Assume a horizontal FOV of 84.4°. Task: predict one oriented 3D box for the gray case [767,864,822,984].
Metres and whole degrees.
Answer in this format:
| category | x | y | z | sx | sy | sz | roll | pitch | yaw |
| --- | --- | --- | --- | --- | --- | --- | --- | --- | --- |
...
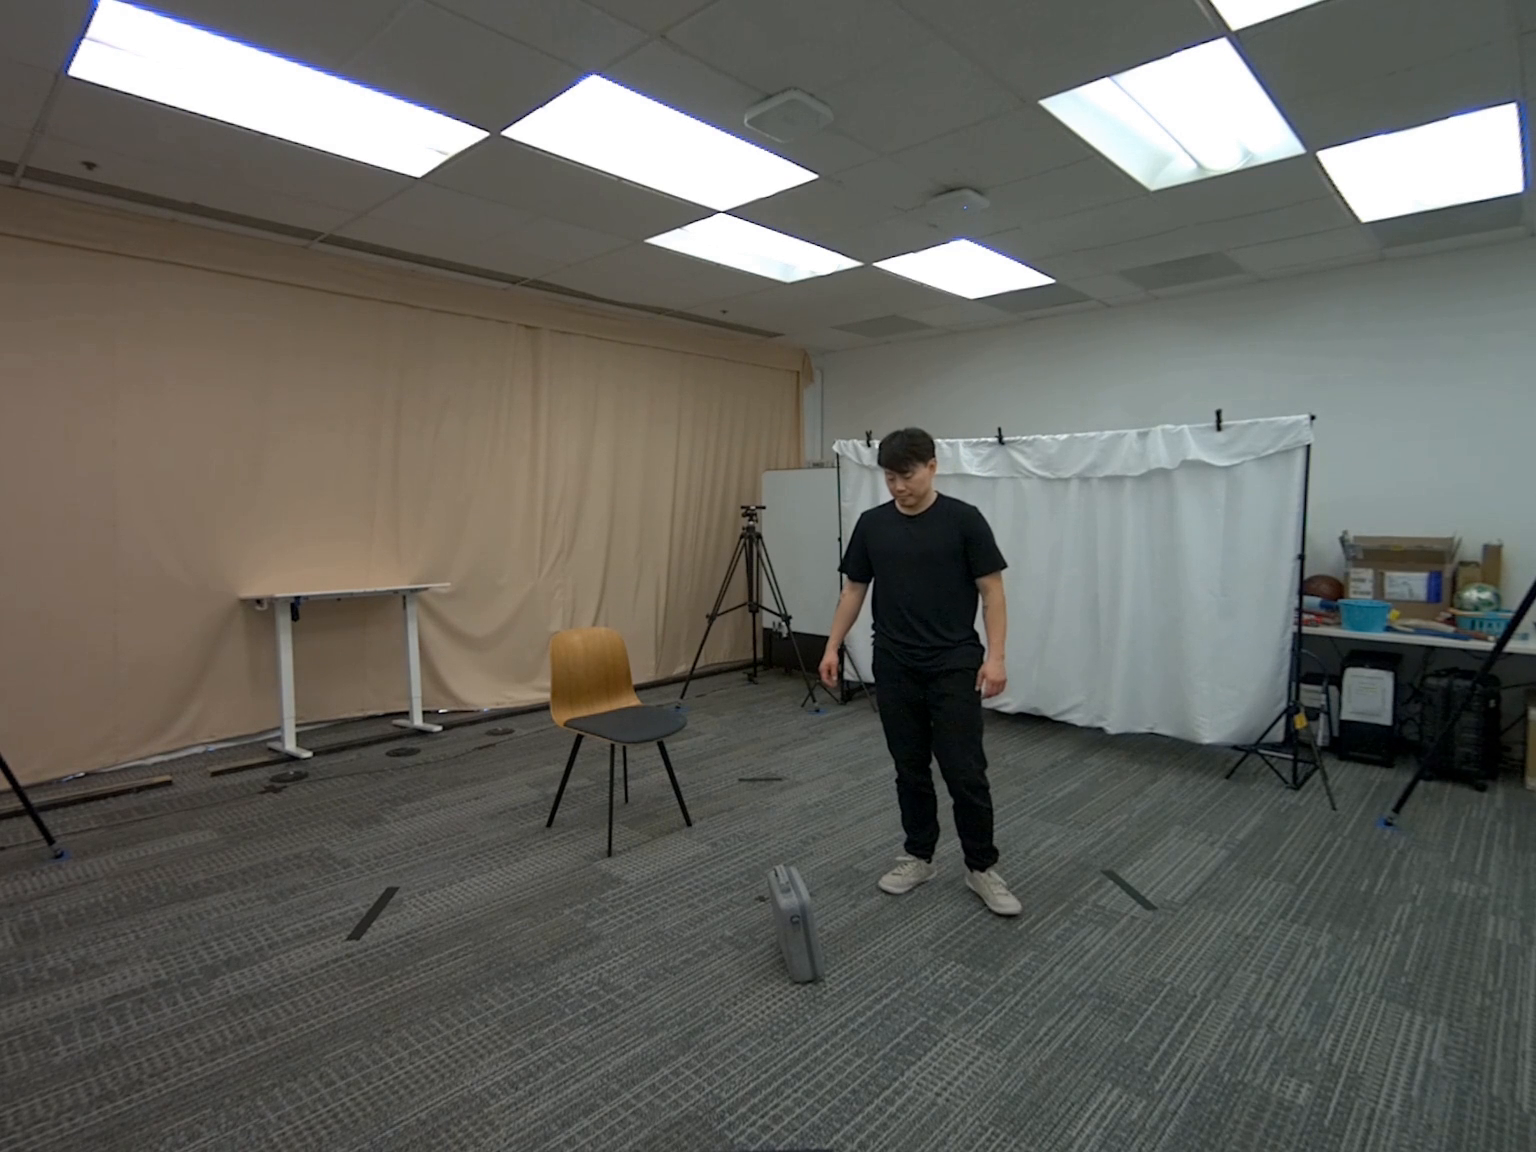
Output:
| category | x | y | z | sx | sy | sz | roll | pitch | yaw |
| --- | --- | --- | --- | --- | --- | --- | --- | --- | --- |
| gray case | 0.083 | 1.045 | 2.550 | 0.103 | 0.260 | 0.259 | -9 | 4 | -8 |
